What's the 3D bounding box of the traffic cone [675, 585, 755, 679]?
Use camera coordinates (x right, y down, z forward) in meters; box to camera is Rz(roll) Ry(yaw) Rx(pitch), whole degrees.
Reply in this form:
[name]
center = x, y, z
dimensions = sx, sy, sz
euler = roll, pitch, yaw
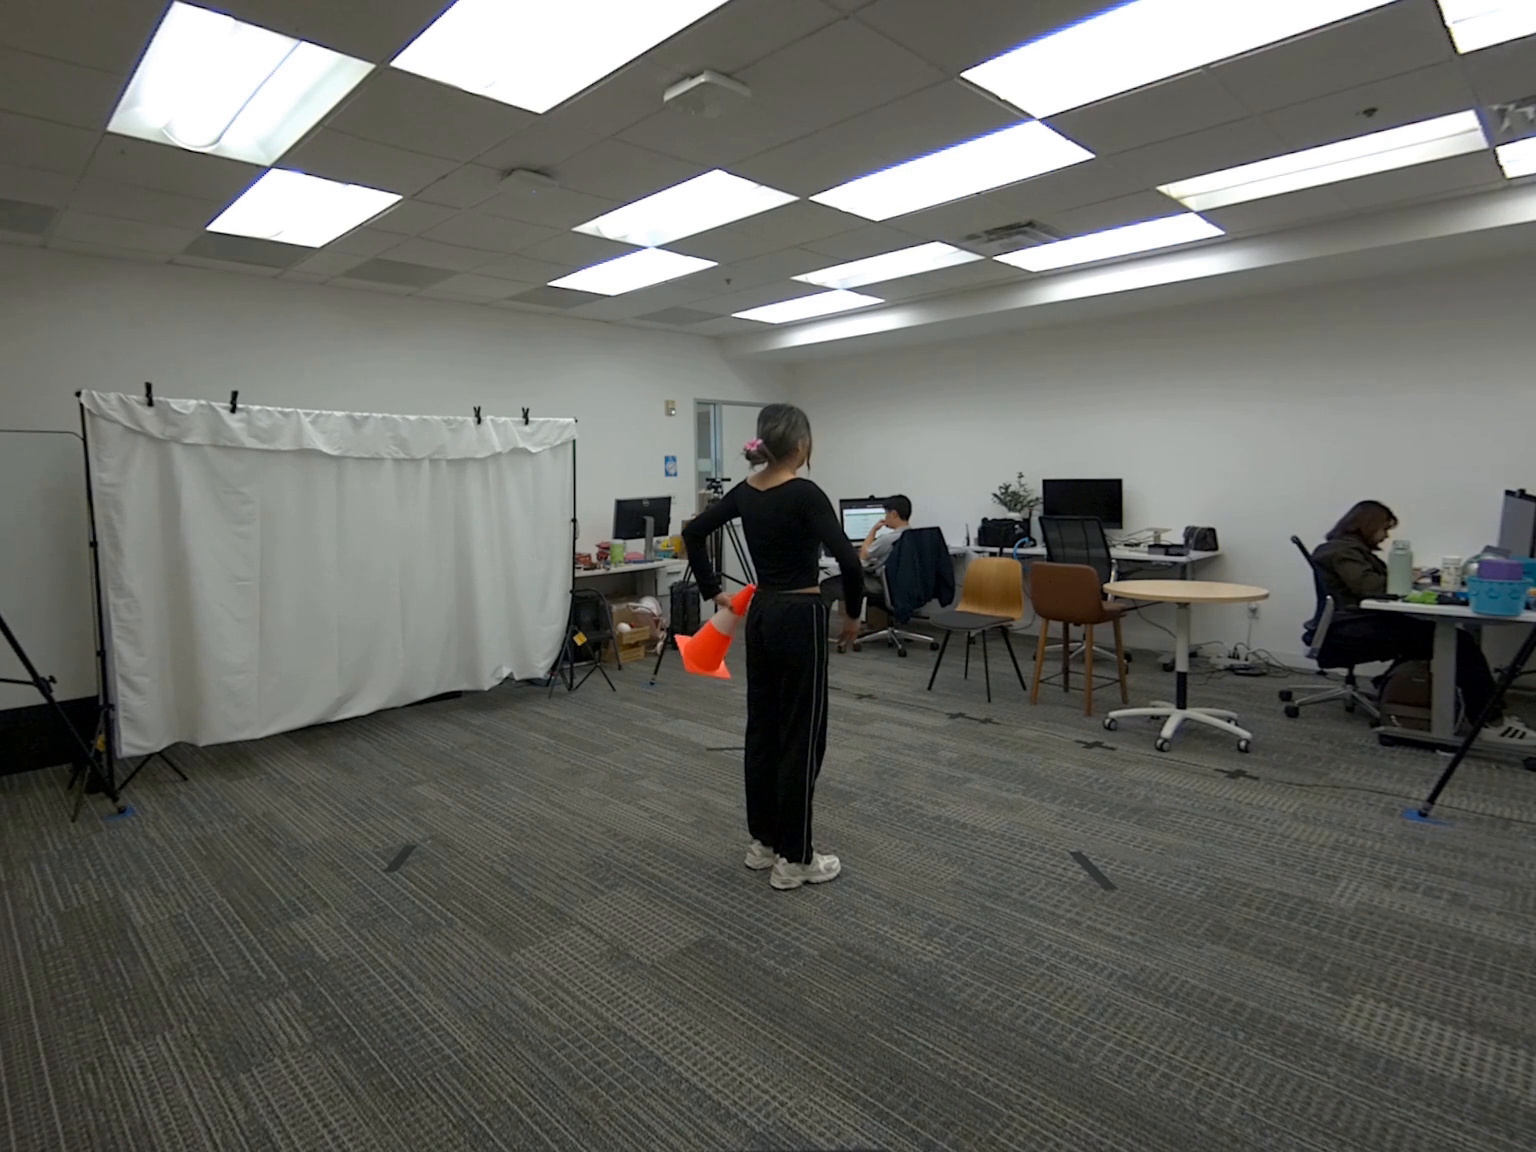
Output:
[traffic cone]
center = -0.148, 0.176, 3.209
dimensions = 0.197, 0.381, 0.213
euler = 13, 34, -36
